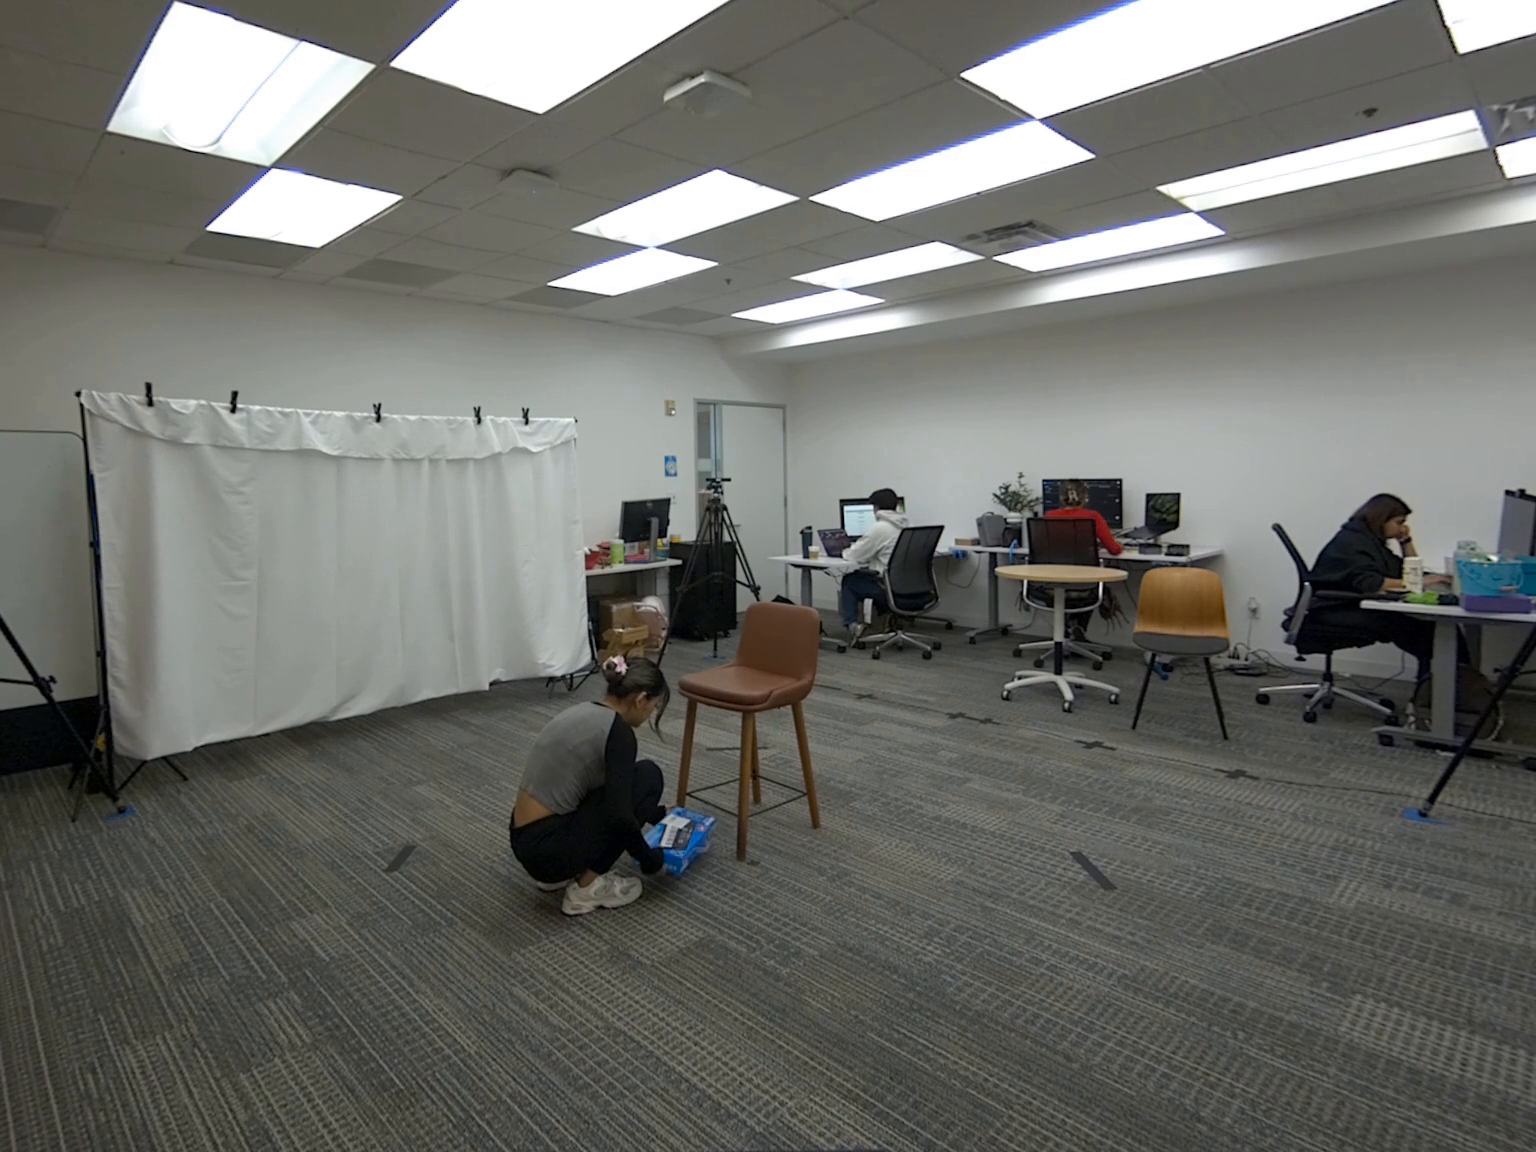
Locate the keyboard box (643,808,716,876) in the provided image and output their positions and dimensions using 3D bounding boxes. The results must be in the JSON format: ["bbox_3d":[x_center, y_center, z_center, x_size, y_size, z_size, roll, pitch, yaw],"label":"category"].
[{"bbox_3d":[-0.326,0.936,3.055,0.179,0.059,0.431,10,4,13],"label":"keyboard box"}]
